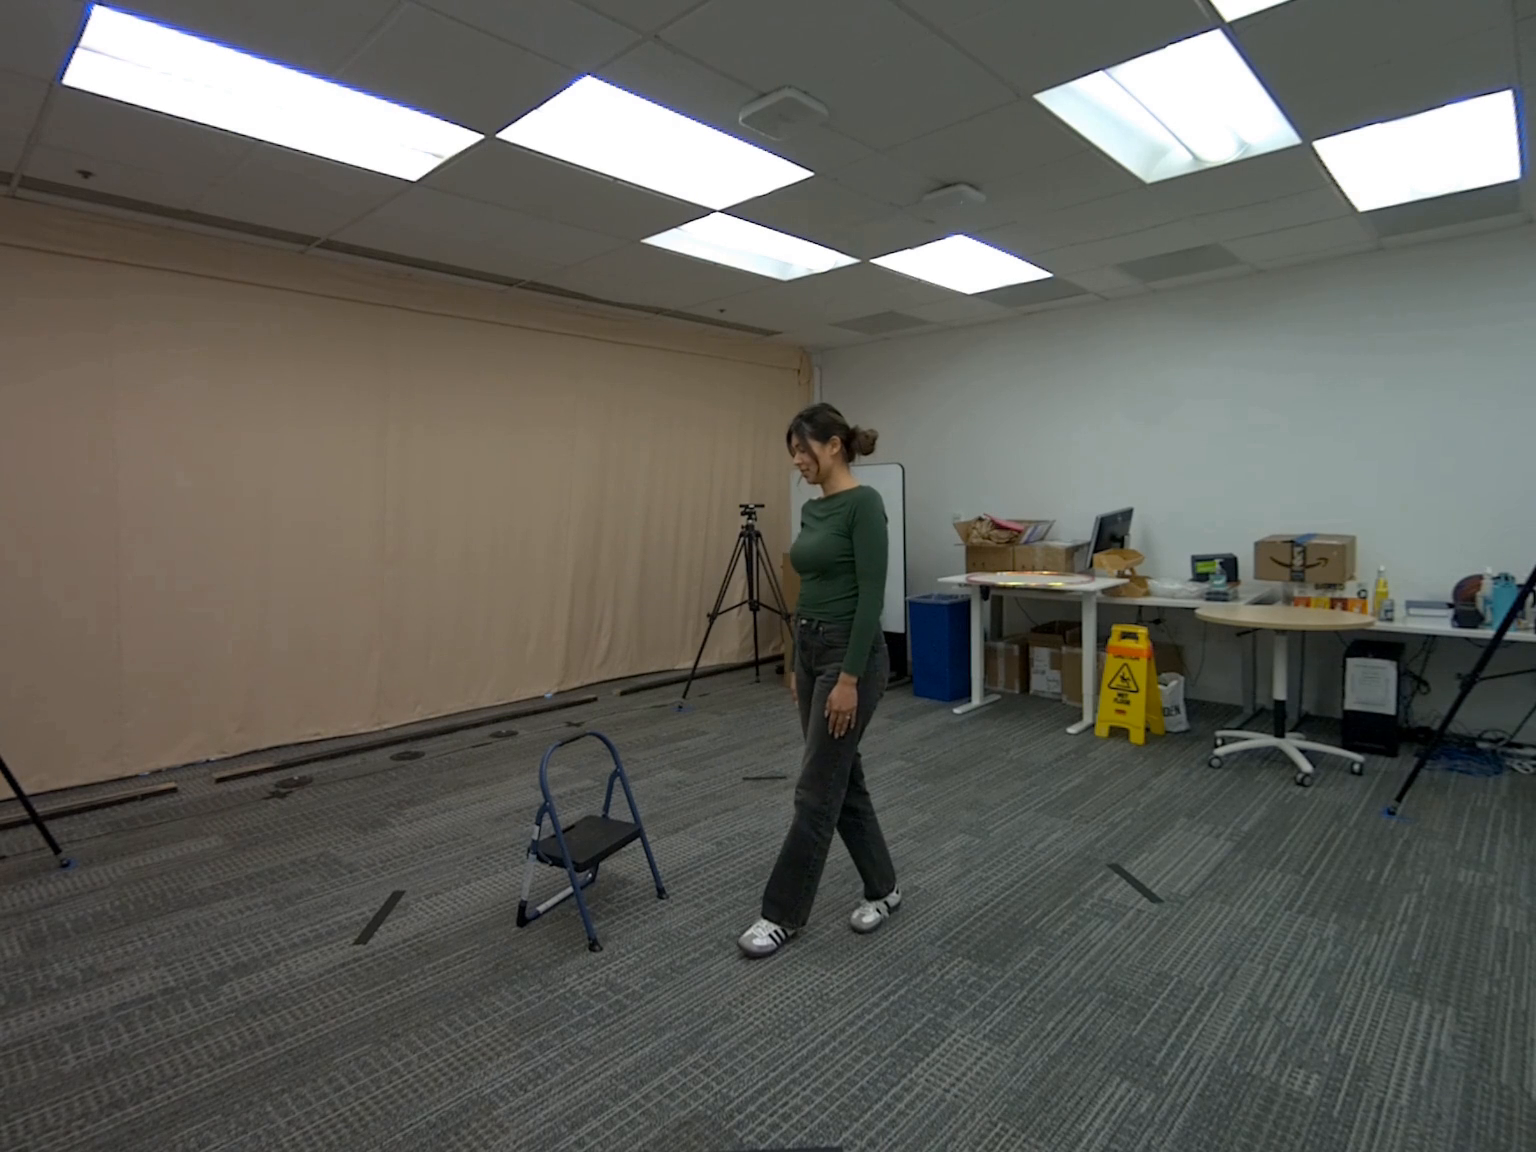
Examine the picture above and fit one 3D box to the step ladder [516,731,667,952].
[{"bbox_3d":[-0.605,0.859,2.894,0.359,0.605,0.420,1,3,27],"label":"step ladder"}]
